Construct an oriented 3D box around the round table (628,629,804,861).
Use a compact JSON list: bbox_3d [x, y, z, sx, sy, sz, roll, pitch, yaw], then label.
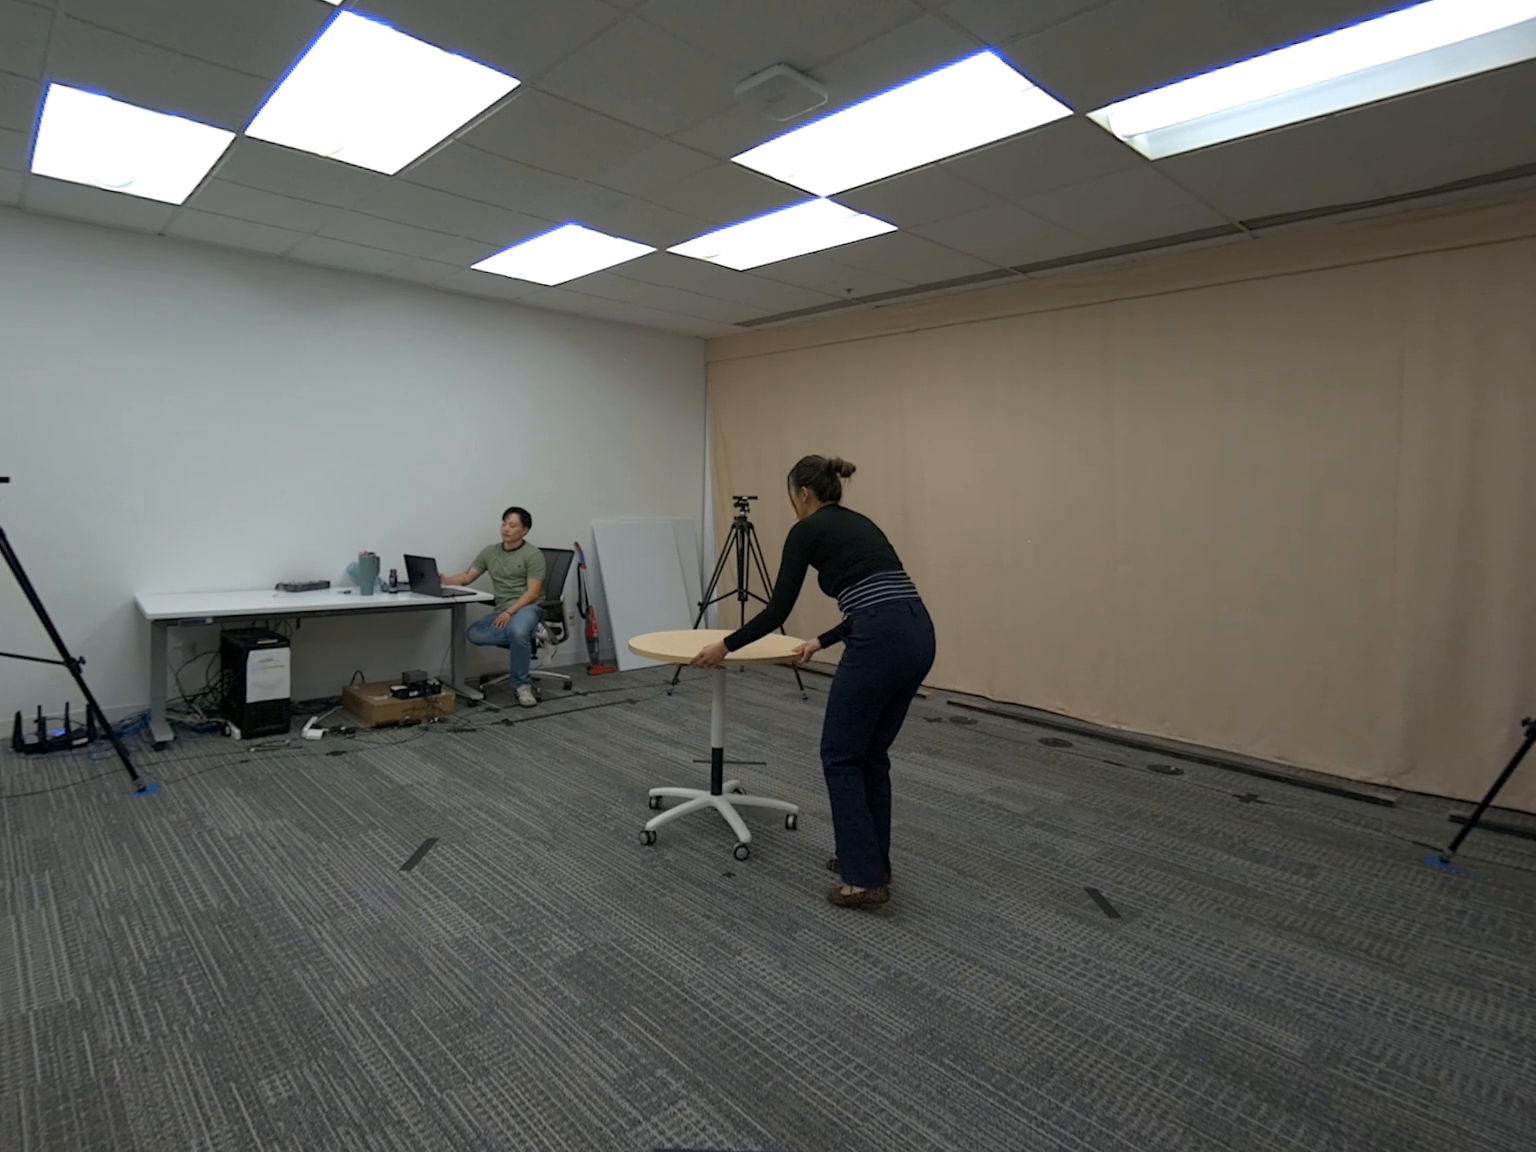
[{"bbox_3d":[-0.221,0.672,3.548,0.763,0.792,0.766,2,3,-1],"label":"round table"}]
